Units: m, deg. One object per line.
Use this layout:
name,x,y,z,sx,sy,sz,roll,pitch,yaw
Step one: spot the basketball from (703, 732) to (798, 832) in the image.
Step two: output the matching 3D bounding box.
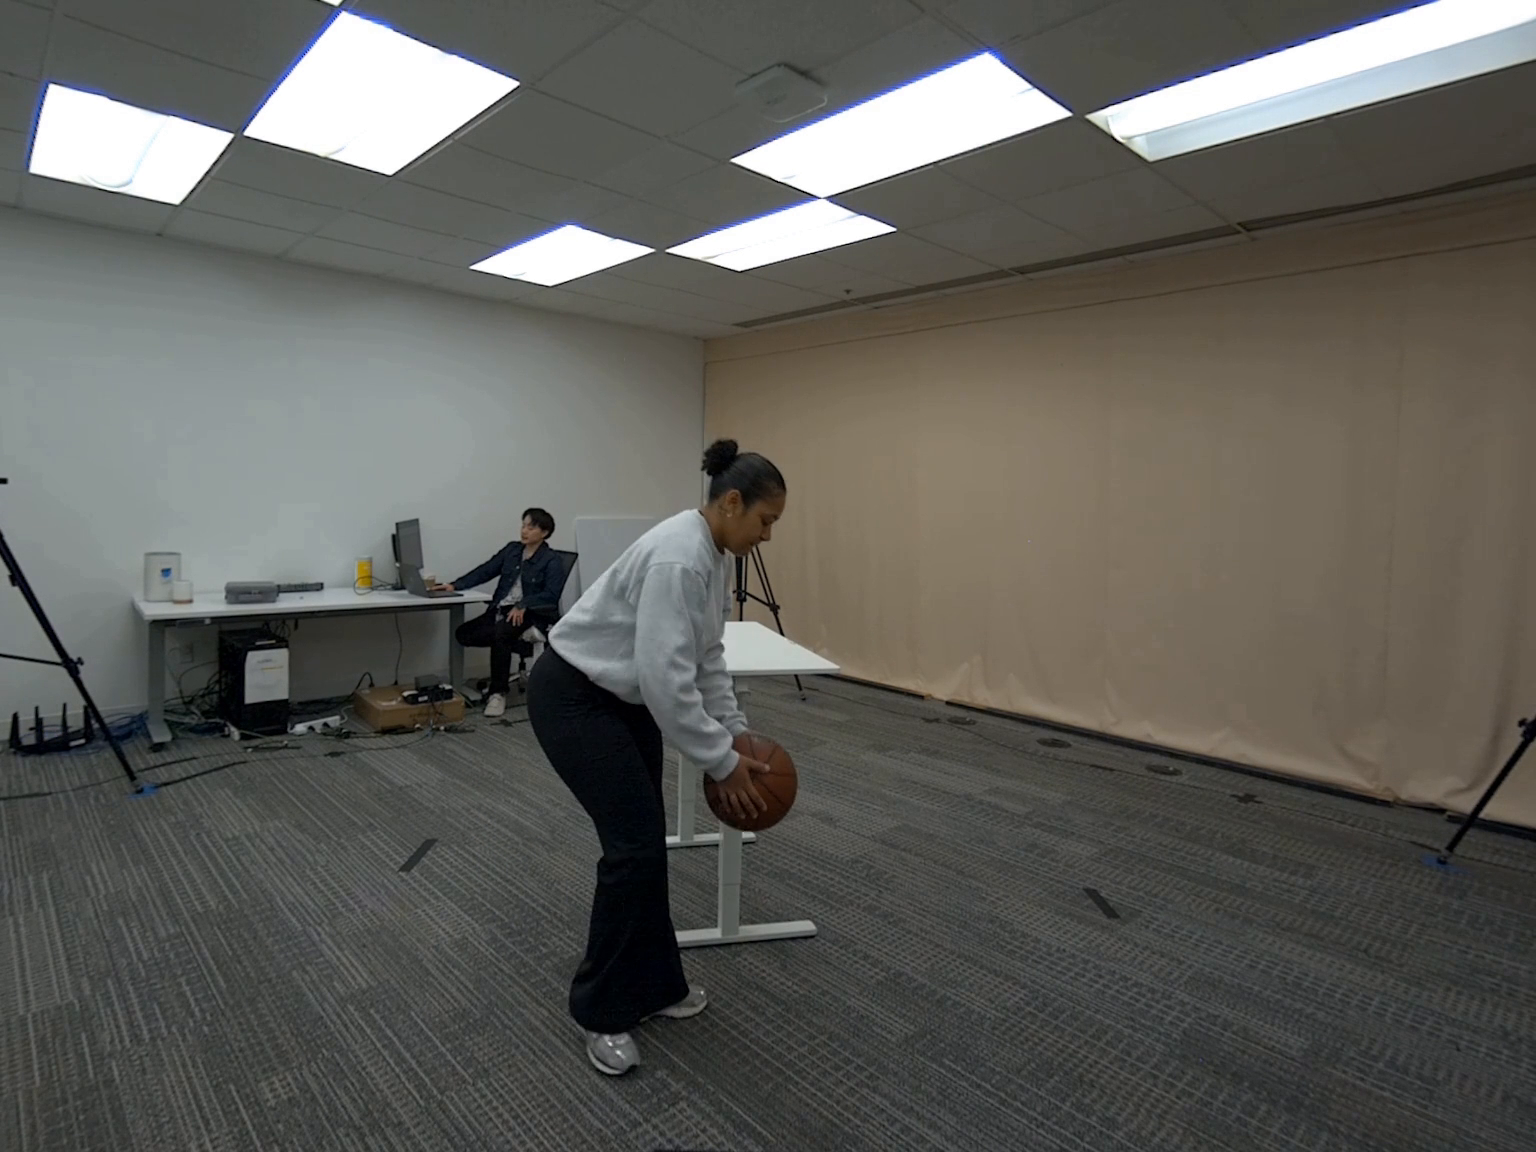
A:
basketball,-0.064,0.524,2.109,0.236,0.235,0.237,1,4,-1
